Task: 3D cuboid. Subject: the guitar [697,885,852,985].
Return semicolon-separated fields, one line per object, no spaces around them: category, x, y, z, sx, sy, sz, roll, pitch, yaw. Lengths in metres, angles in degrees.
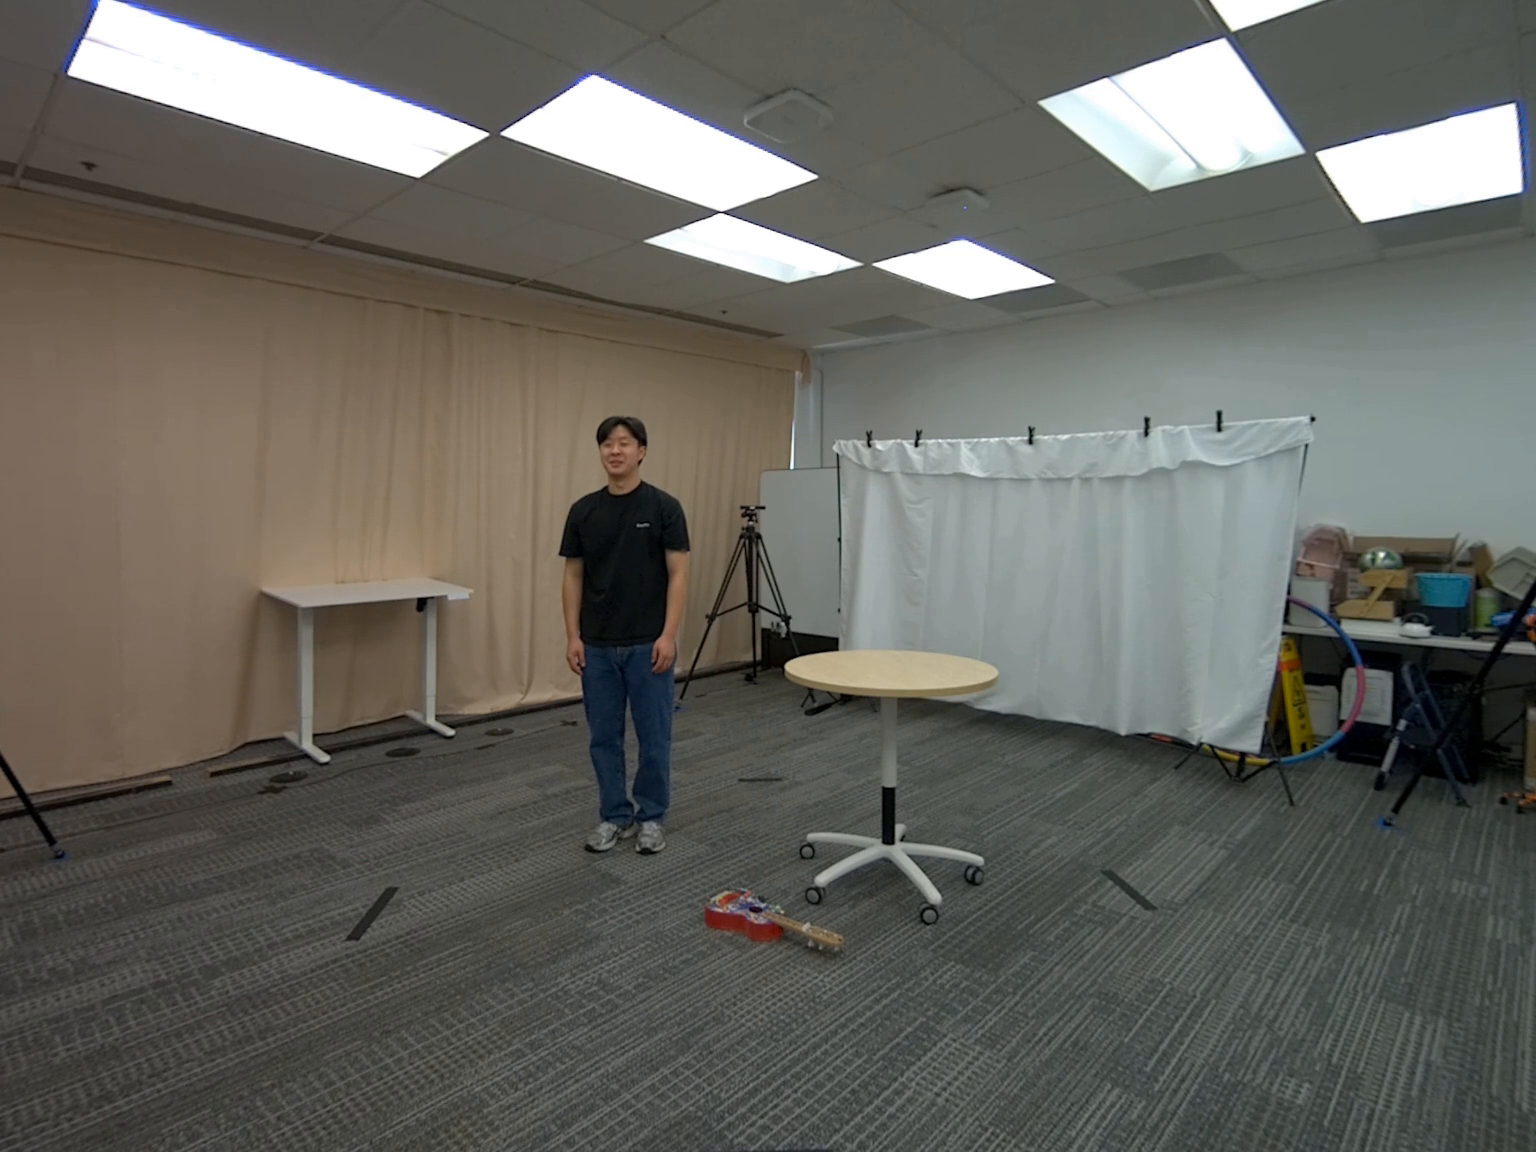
guitar;0.008;1.133;2.712;0.187;0.070;0.514;-4;6;-44
